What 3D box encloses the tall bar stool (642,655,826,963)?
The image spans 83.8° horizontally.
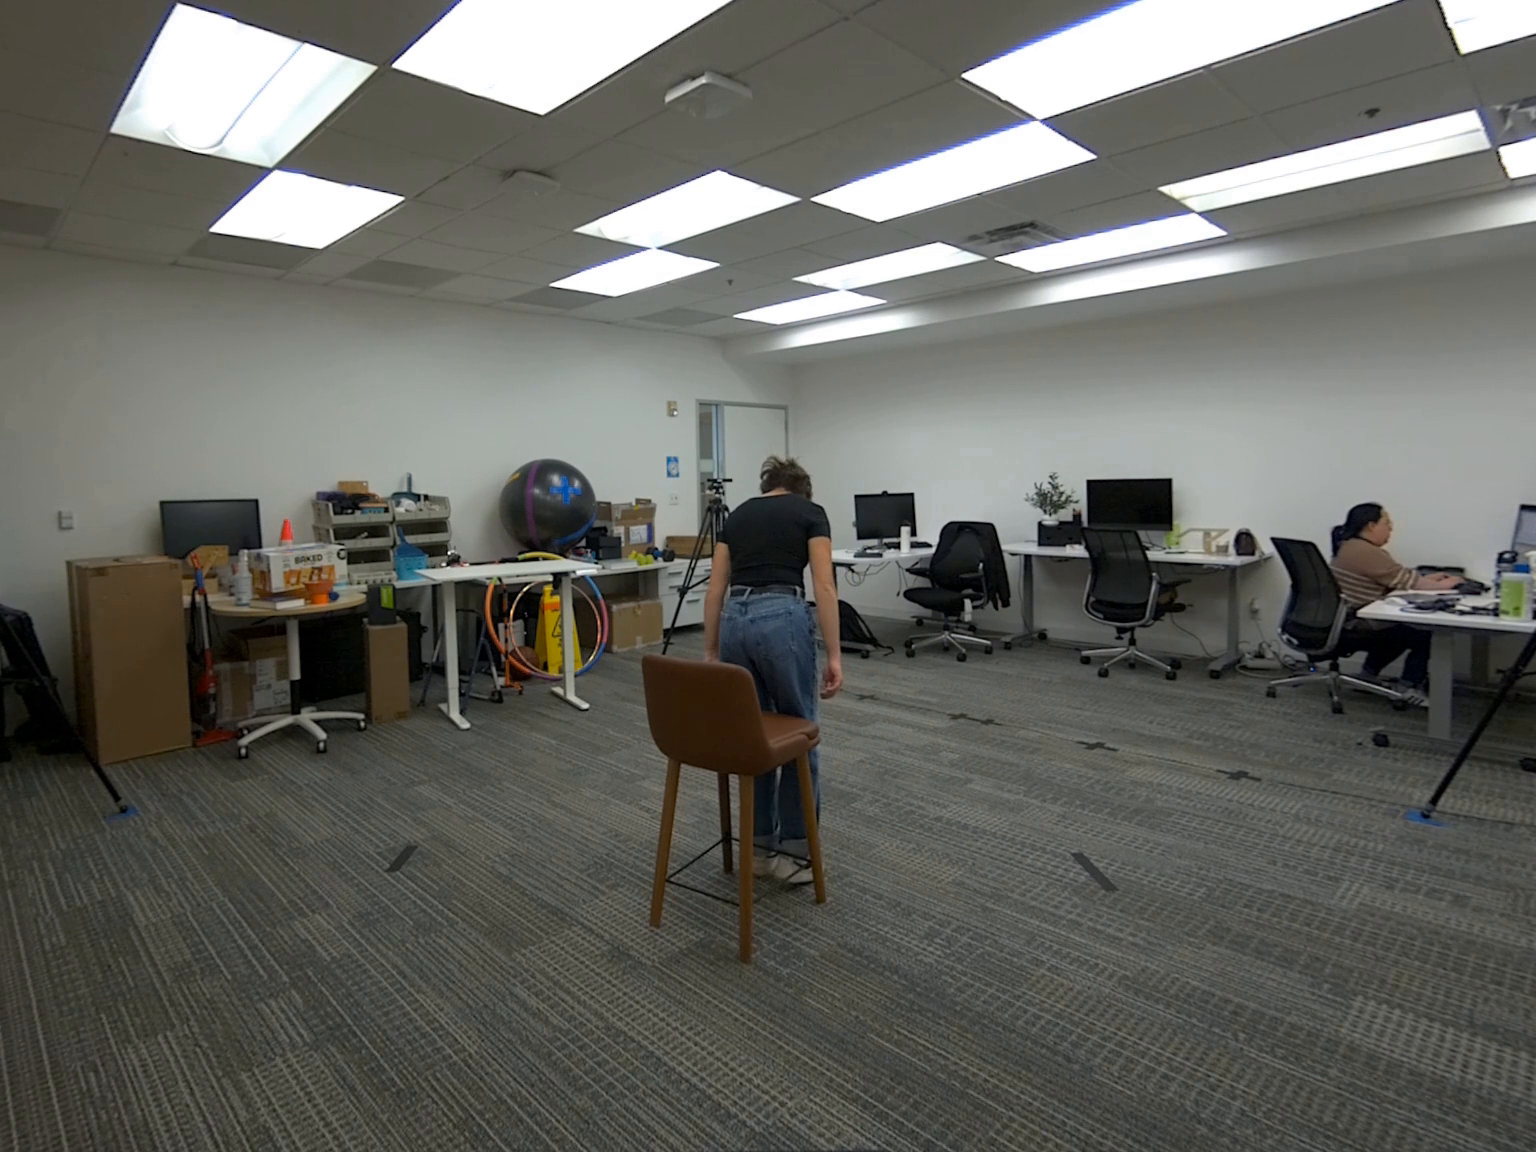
[{"bbox_3d":[-0.109,0.661,2.723,0.469,0.885,0.457,2,7,35],"label":"tall bar stool"}]
